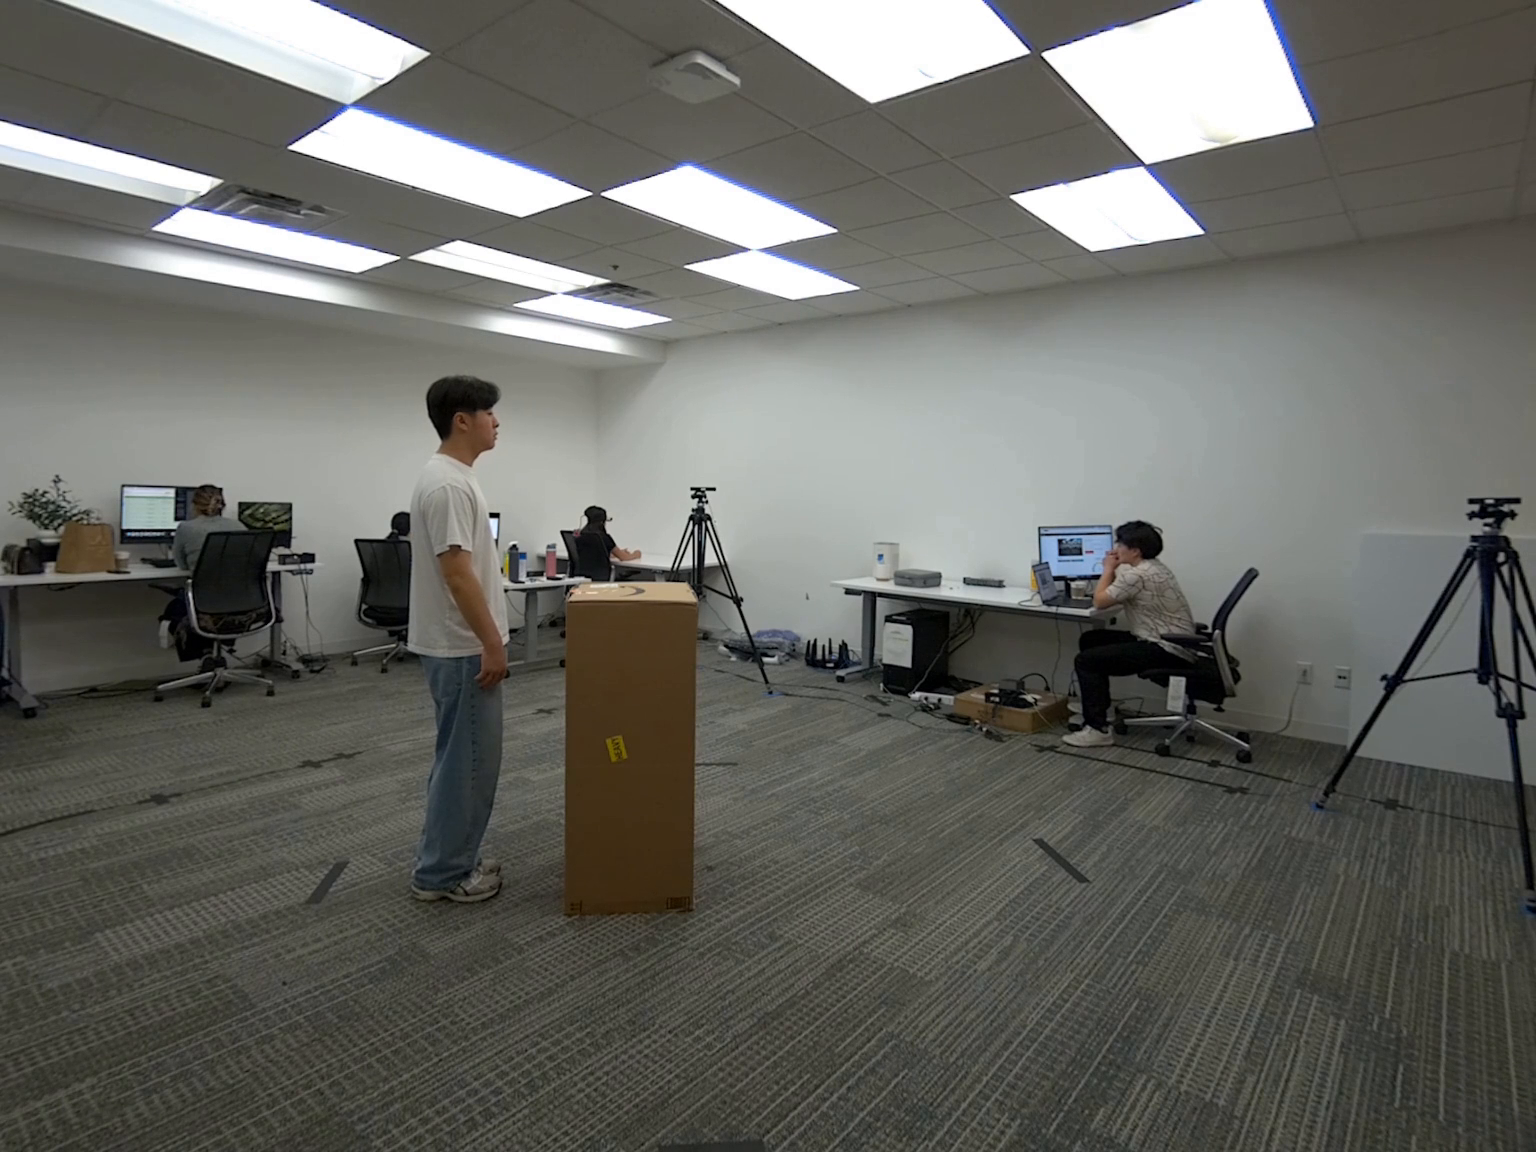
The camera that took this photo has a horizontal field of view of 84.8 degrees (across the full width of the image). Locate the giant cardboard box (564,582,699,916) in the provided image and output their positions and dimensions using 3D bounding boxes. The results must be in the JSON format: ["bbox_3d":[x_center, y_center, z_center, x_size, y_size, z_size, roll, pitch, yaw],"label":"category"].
[{"bbox_3d":[-0.499,0.562,3.025,0.423,1.023,0.584,1,3,-8],"label":"giant cardboard box"}]
